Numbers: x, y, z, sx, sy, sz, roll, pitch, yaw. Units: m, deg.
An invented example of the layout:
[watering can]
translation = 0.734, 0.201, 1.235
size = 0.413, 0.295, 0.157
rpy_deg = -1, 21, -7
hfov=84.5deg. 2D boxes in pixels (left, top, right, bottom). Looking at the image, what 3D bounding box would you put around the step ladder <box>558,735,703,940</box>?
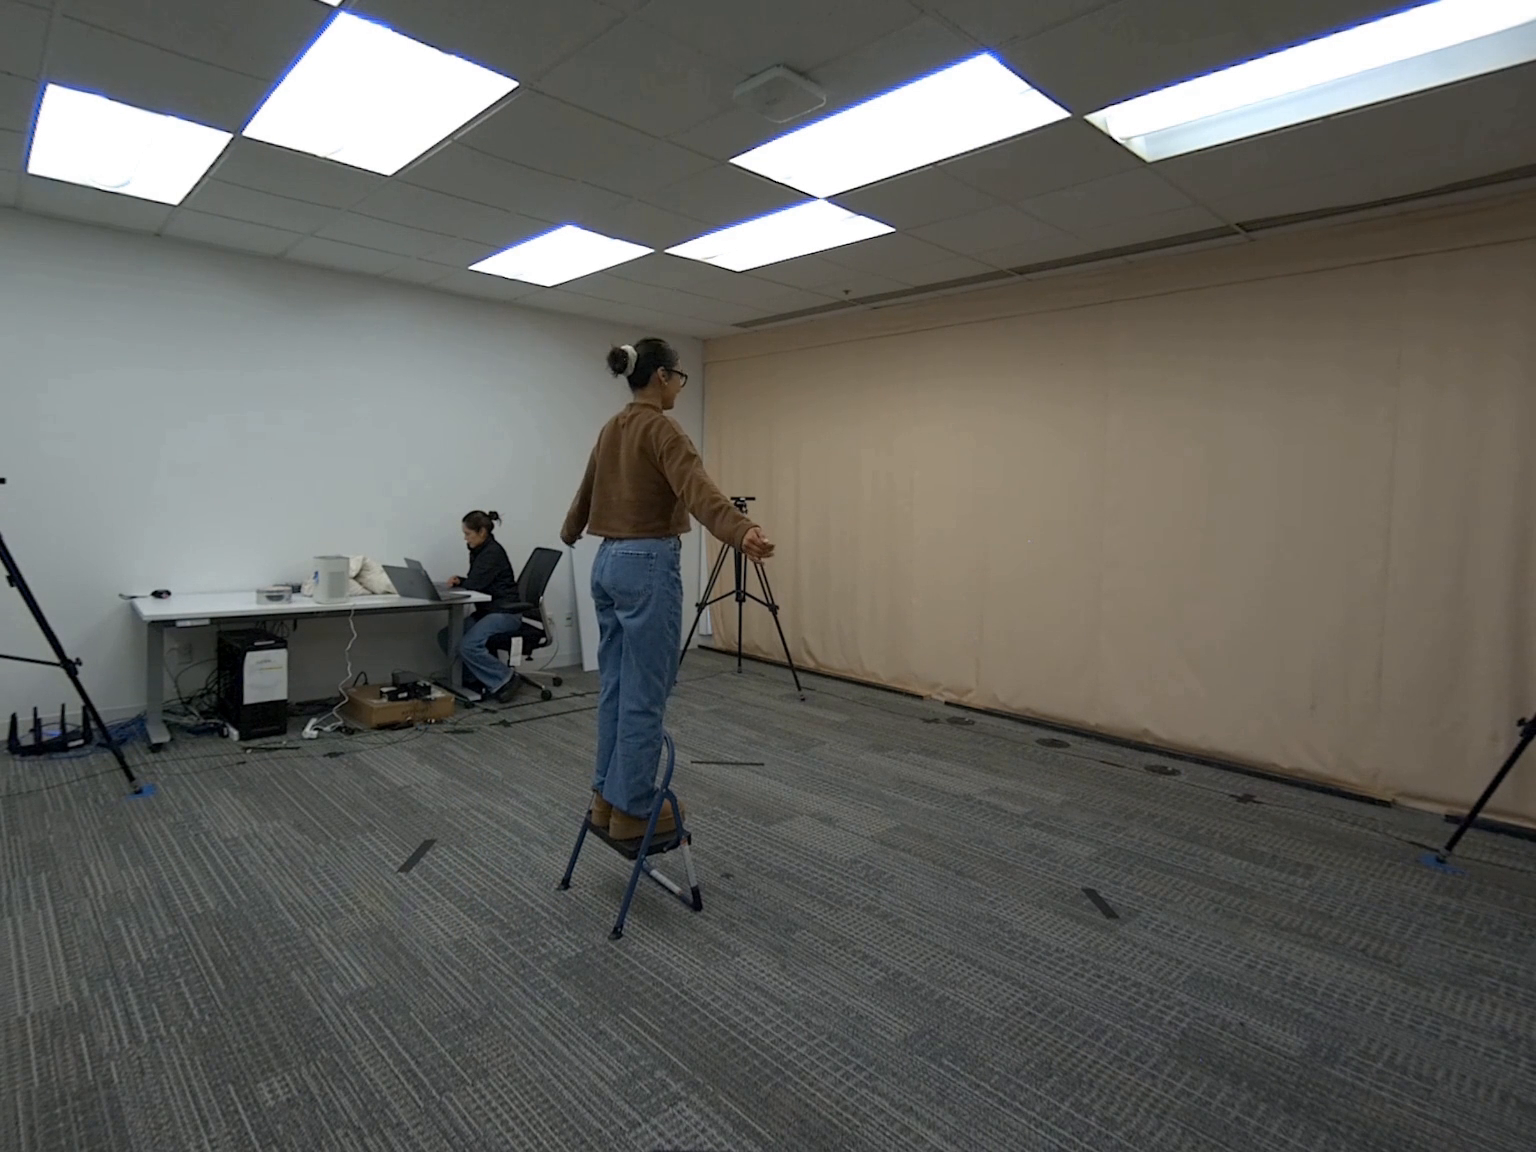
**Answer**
[step ladder]
translation = -0.472, 0.819, 2.889
size = 0.341, 0.605, 0.441
rpy_deg = -1, 4, -38
